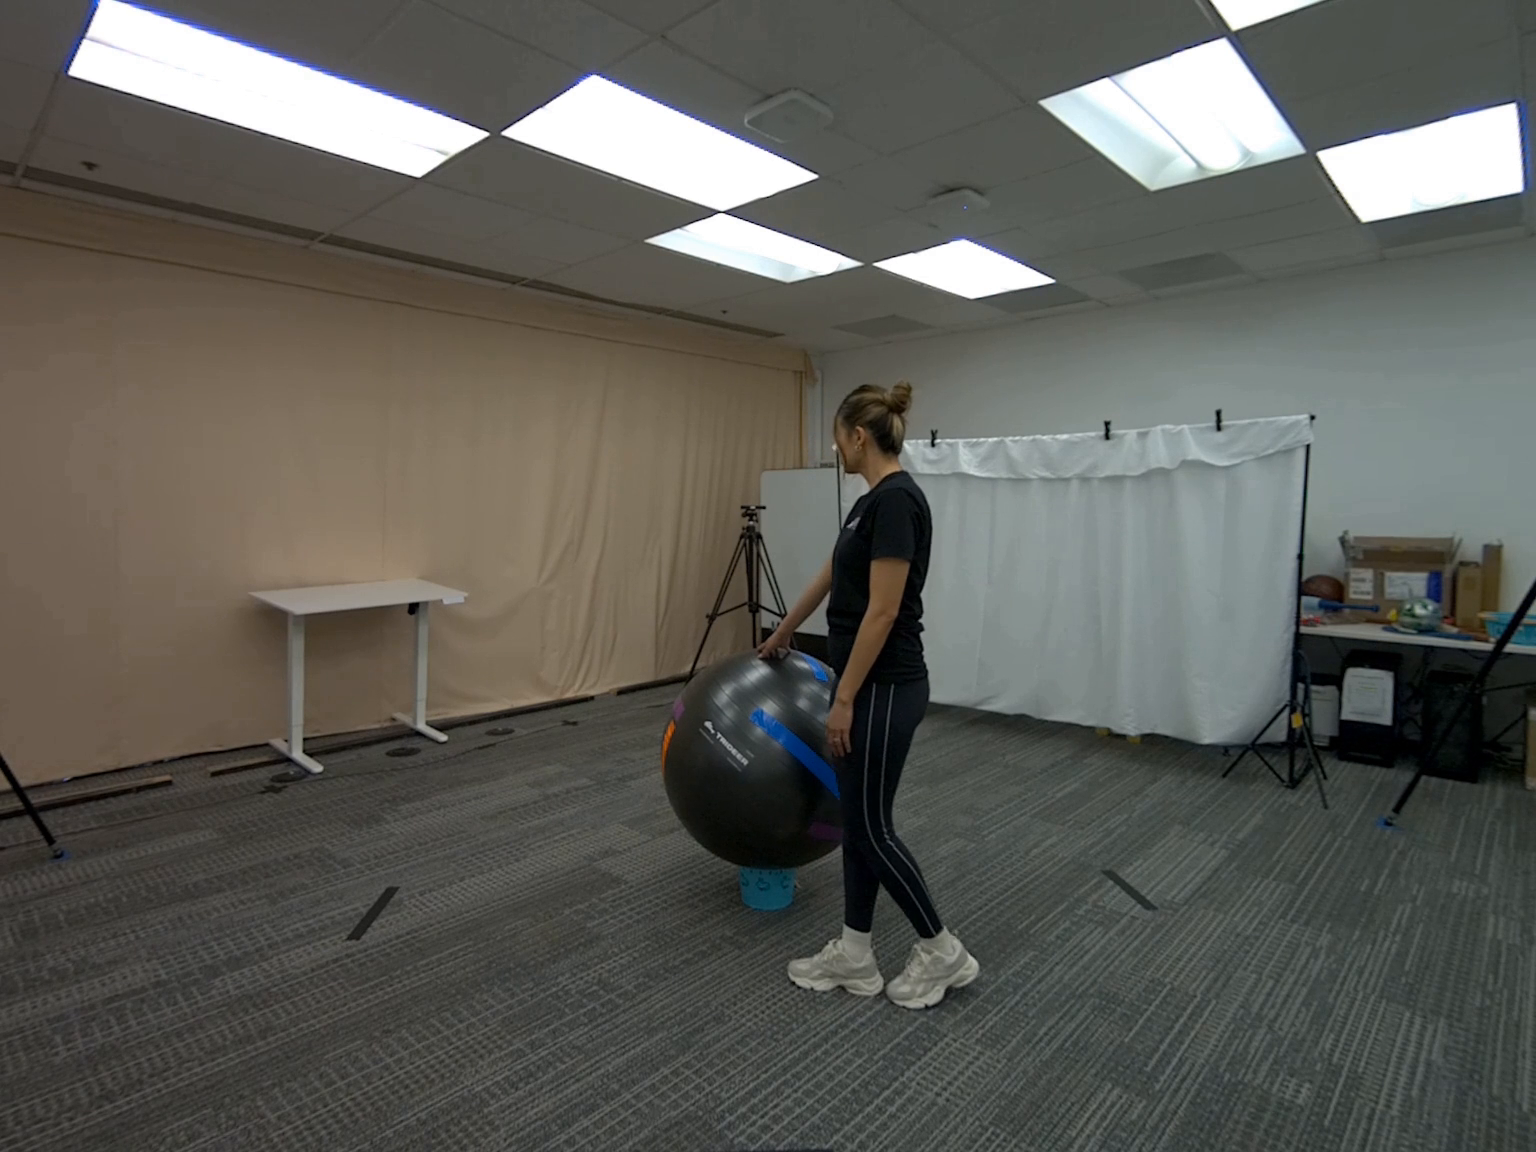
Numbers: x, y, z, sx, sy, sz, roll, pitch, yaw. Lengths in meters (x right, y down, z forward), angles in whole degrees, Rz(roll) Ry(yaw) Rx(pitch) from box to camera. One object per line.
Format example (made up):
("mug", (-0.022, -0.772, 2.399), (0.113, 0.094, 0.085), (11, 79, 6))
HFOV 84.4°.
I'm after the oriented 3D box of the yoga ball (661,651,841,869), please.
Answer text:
("yoga ball", (0.008, 0.639, 2.963), (0.757, 0.756, 0.760), (0, 4, -2))
